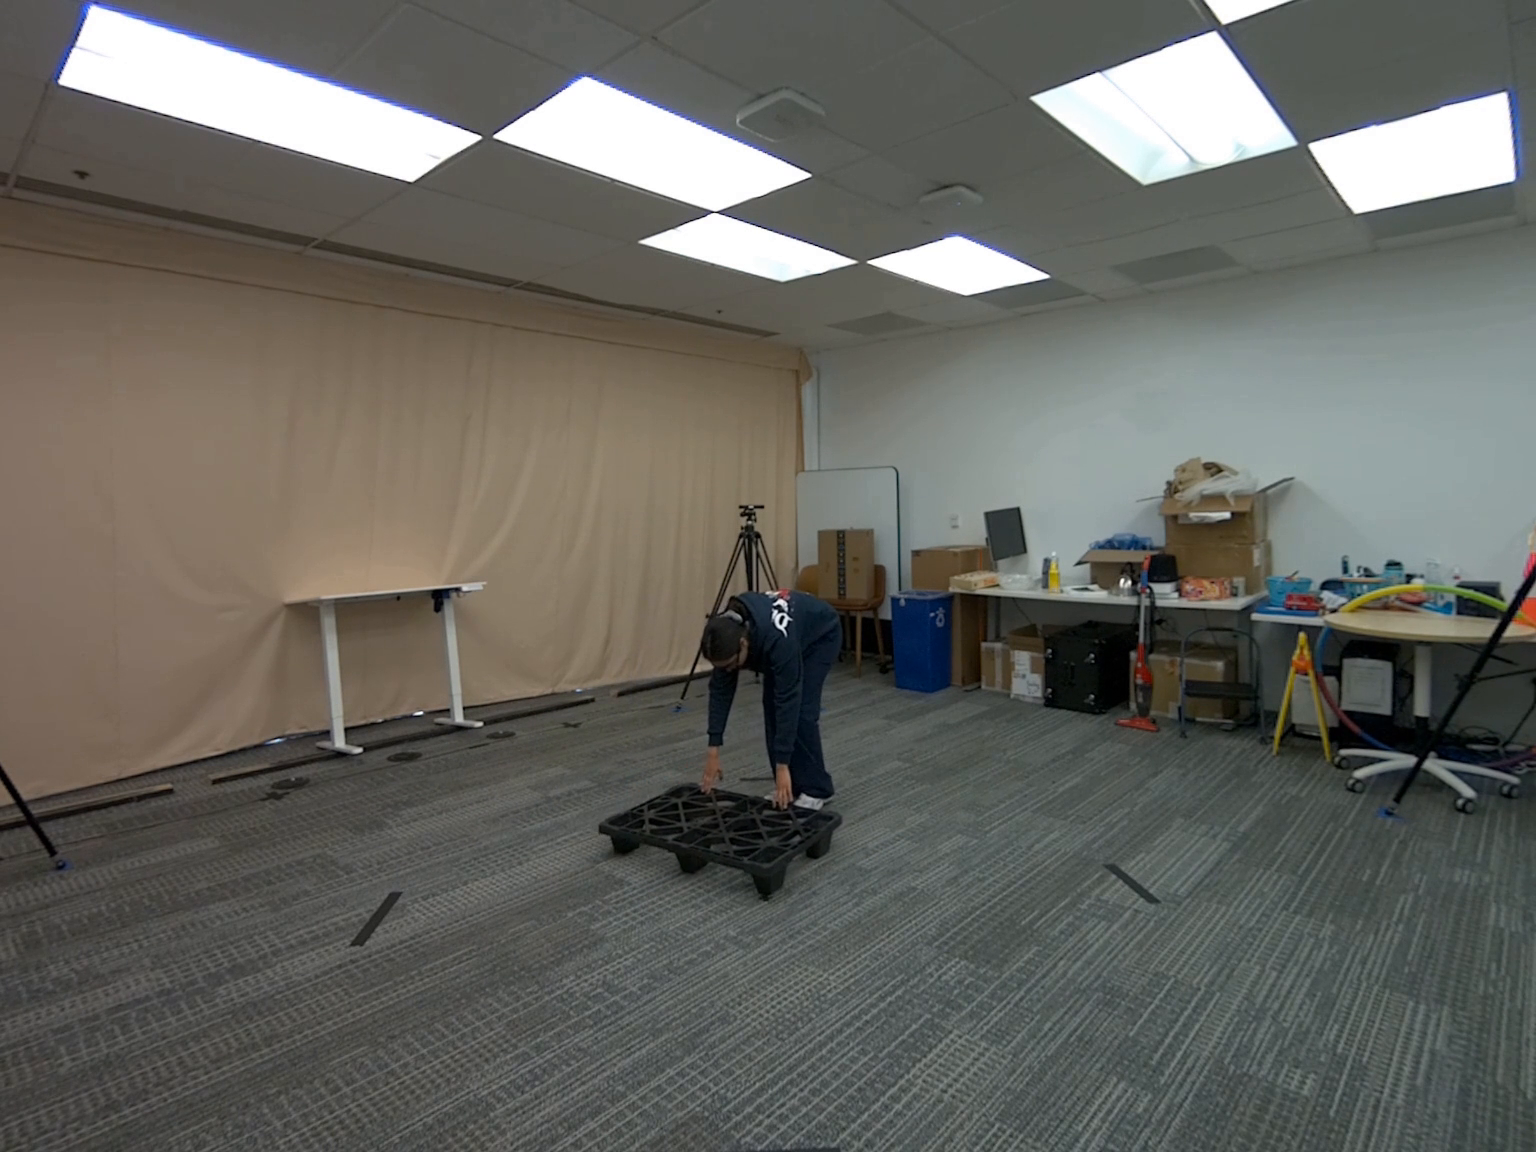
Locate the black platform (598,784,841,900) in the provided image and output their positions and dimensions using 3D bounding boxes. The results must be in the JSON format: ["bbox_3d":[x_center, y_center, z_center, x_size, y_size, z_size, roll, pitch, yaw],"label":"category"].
[{"bbox_3d":[-0.192,1.043,3.386,0.830,0.143,0.588,2,5,33],"label":"black platform"}]
